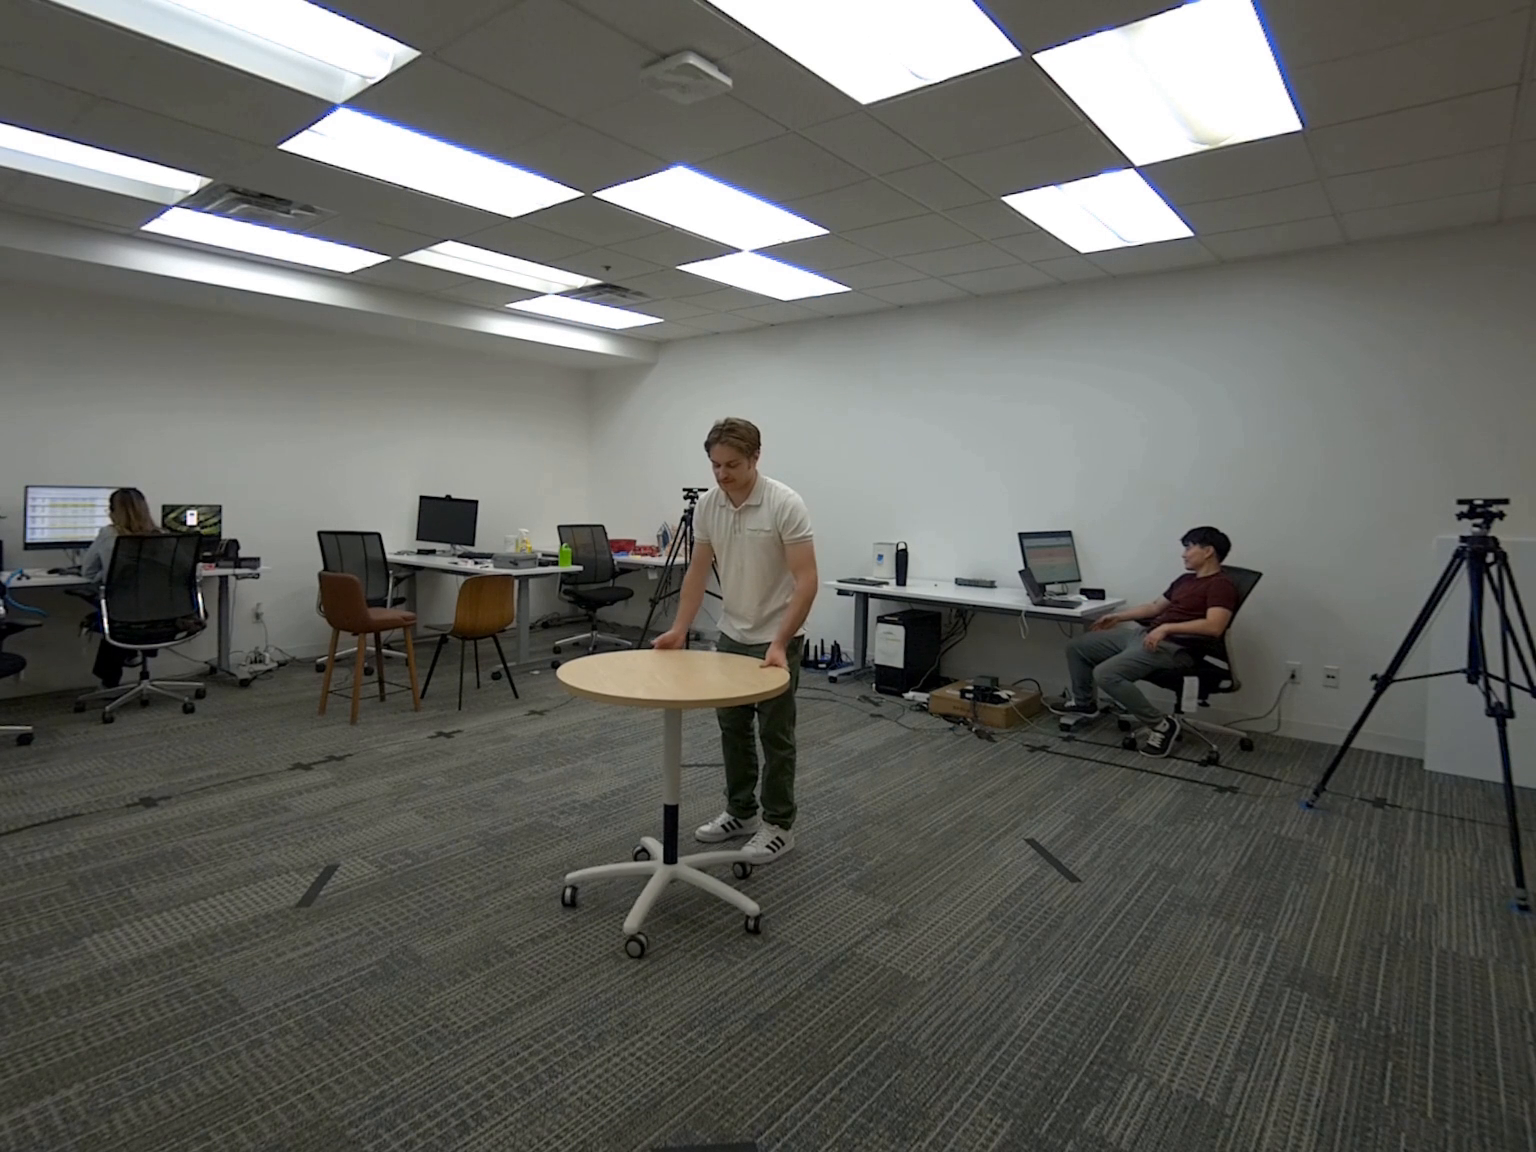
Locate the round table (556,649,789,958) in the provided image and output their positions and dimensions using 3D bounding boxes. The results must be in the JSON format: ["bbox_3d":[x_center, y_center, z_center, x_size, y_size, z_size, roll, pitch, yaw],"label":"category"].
[{"bbox_3d":[-0.337,0.705,2.827,0.763,0.792,0.767,1,4,-2],"label":"round table"}]
